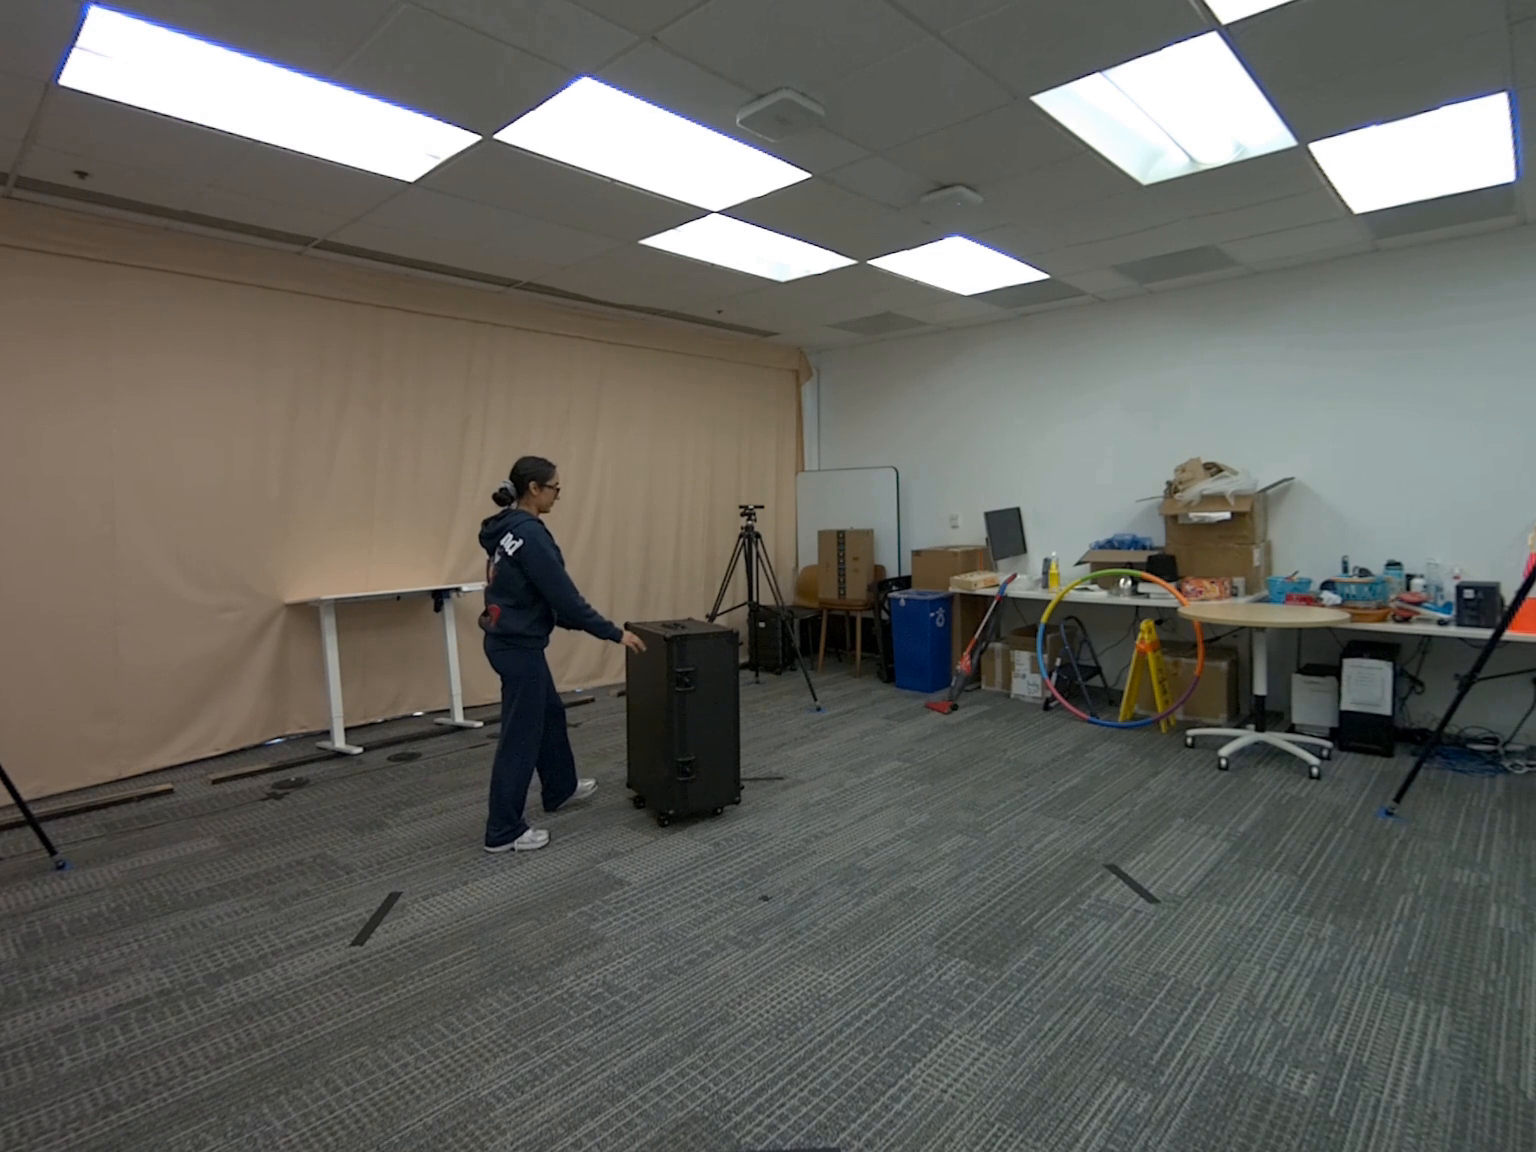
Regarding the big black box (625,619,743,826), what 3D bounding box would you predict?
[{"bbox_3d":[-0.390,0.654,3.872,0.386,0.860,0.536,-1,3,-30],"label":"big black box"}]
